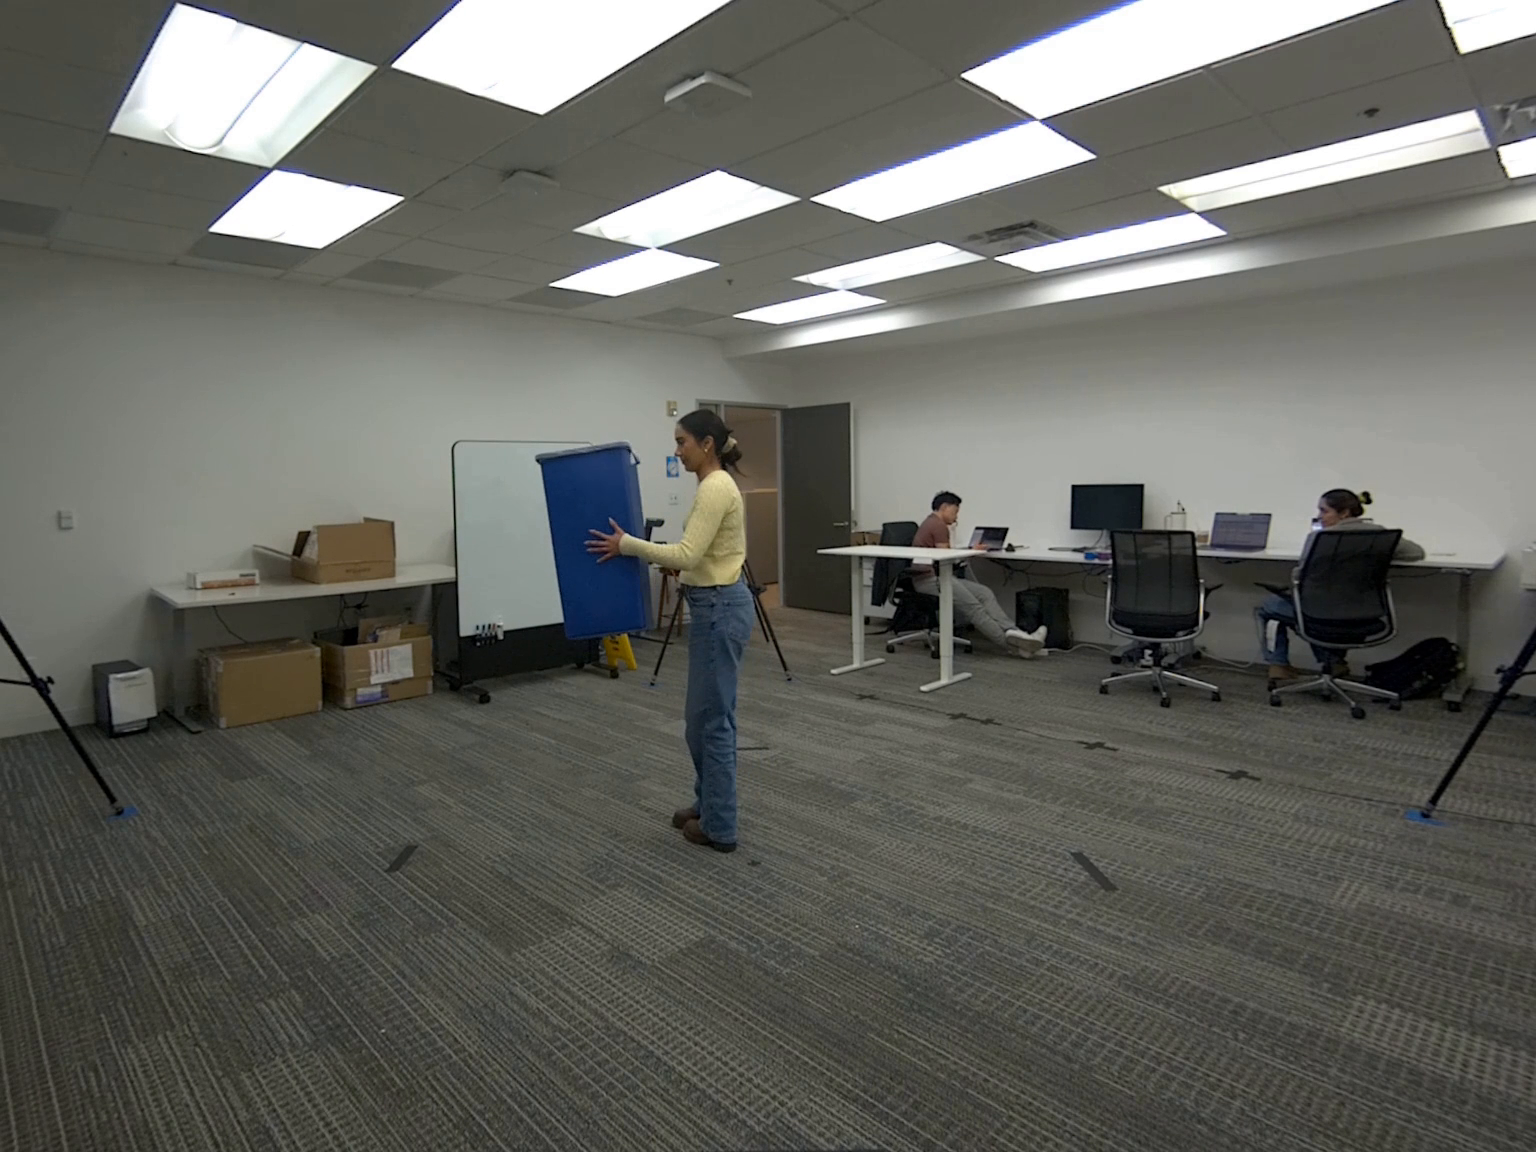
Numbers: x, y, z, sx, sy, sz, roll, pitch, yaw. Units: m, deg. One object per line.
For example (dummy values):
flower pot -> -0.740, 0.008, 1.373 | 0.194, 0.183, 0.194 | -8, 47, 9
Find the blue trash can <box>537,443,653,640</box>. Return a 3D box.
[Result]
blue trash can -> -0.662, -0.128, 3.372 | 0.374, 0.719, 0.375 | -8, -7, 0
